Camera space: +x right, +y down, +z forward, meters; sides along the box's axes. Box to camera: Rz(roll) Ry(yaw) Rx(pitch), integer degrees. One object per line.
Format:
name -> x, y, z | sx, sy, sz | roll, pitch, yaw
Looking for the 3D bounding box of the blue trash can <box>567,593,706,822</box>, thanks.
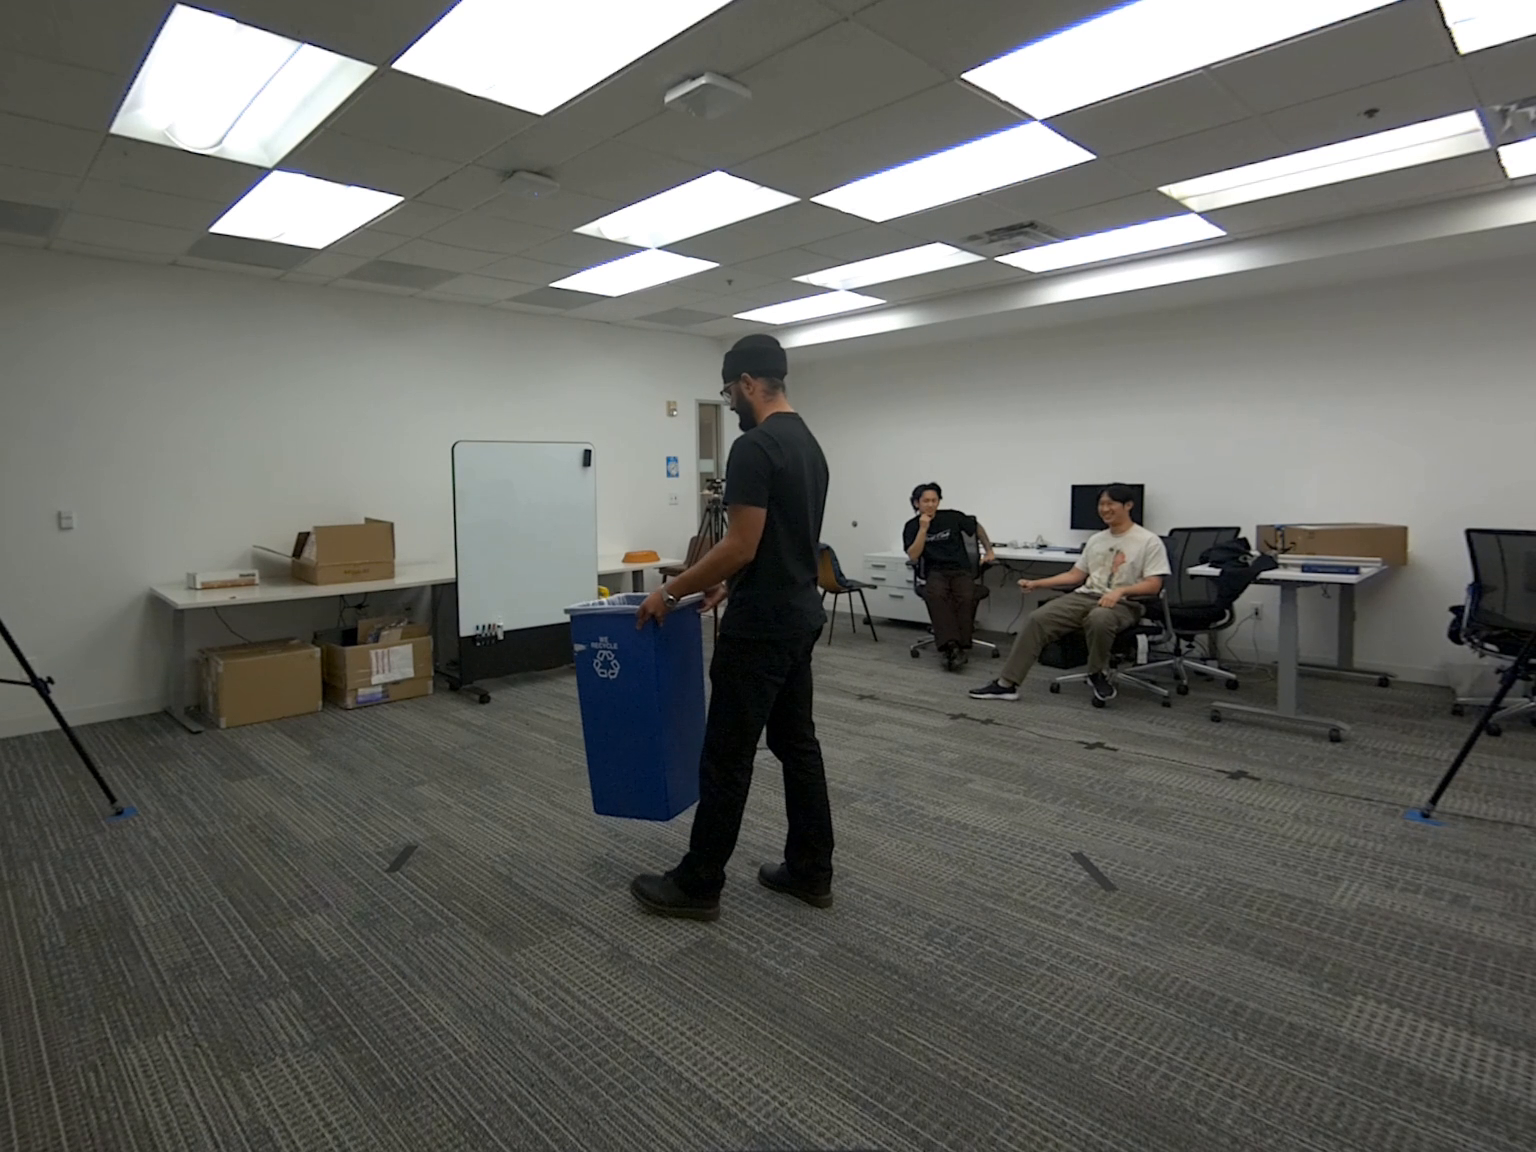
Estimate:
blue trash can -> -0.422, 0.436, 2.960 | 0.382, 0.712, 0.370 | -4, 3, 26
